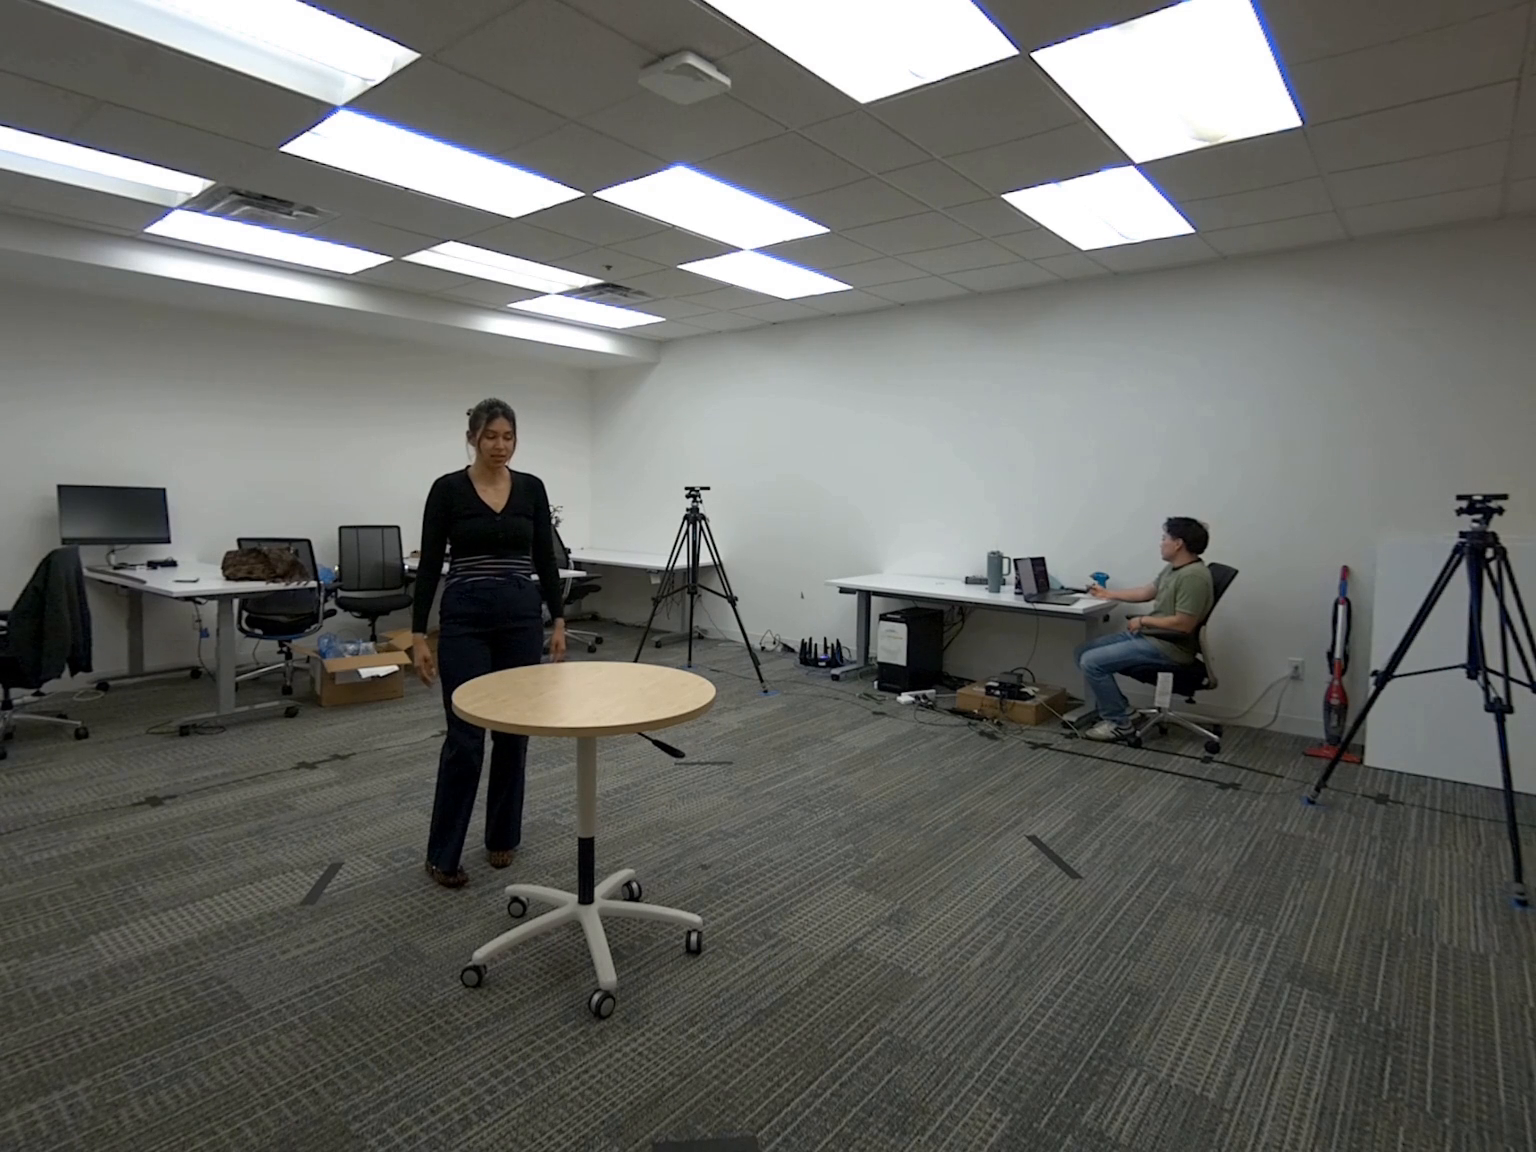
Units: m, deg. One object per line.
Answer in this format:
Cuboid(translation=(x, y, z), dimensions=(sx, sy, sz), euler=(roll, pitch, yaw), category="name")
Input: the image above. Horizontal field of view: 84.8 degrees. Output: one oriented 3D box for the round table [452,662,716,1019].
Cuboid(translation=(-0.552, 0.728, 2.544), dimensions=(0.763, 0.791, 0.768), euler=(1, 5, -2), category="round table")
